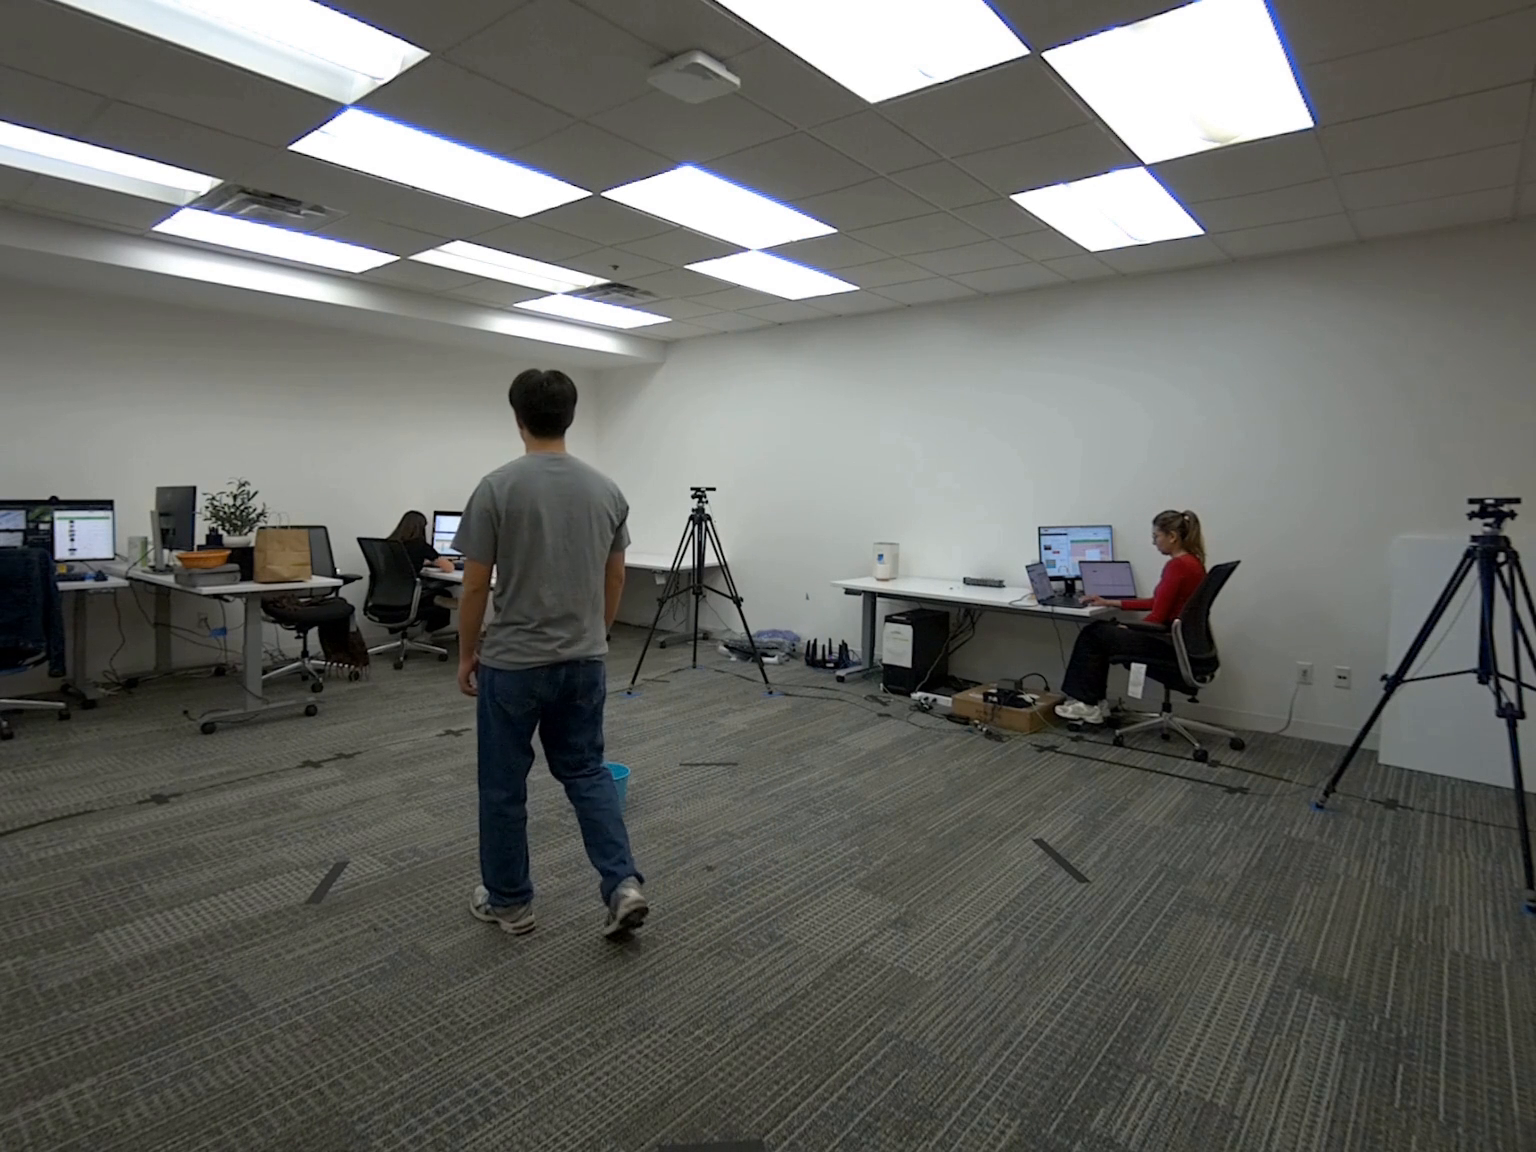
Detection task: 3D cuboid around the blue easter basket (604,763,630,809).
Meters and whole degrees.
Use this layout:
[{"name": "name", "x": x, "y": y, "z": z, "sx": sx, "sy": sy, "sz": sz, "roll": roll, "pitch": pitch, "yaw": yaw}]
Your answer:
[{"name": "blue easter basket", "x": -0.729, "y": 0.916, "z": 3.706, "sx": 0.243, "sy": 0.155, "sz": 0.245, "roll": 1, "pitch": 5, "yaw": -2}]
